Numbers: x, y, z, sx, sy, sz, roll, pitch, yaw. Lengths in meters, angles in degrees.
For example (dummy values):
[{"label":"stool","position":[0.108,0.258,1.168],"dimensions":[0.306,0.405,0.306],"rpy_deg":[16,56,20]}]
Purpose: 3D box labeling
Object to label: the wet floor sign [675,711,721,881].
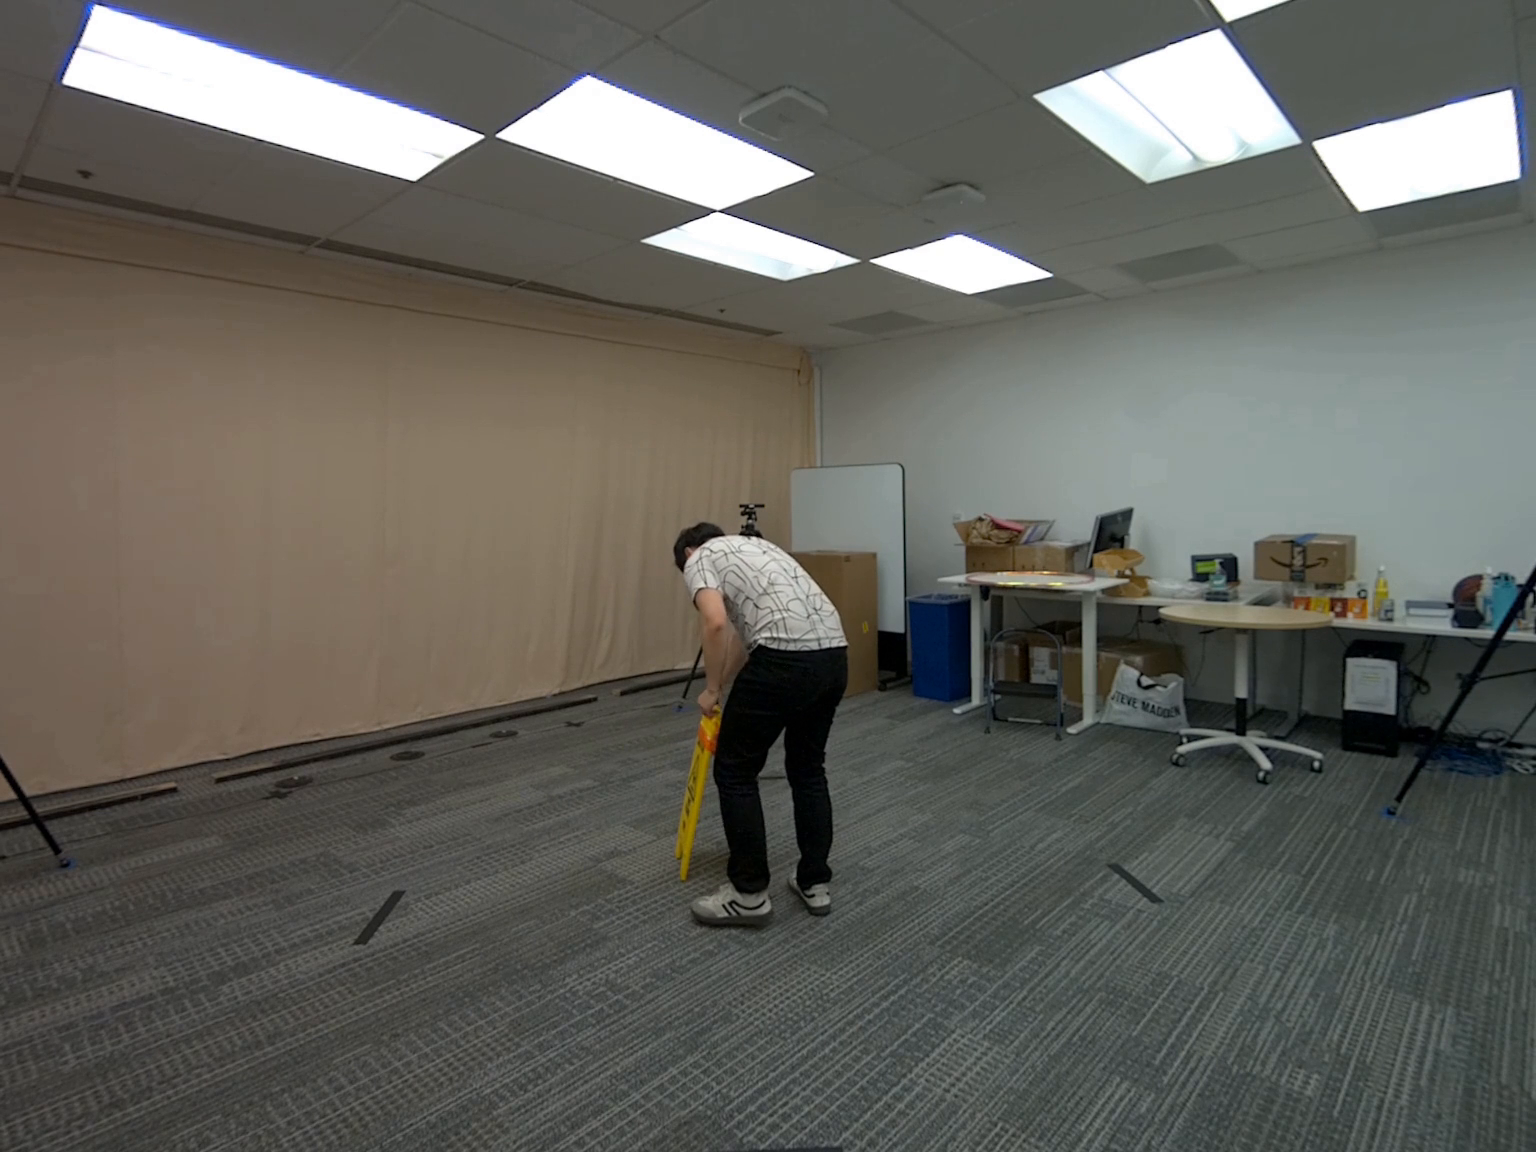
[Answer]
[{"label":"wet floor sign","position":[-0.206,0.794,3.265],"dimensions":[0.286,0.645,0.286],"rpy_deg":[-2,3,-12]}]
